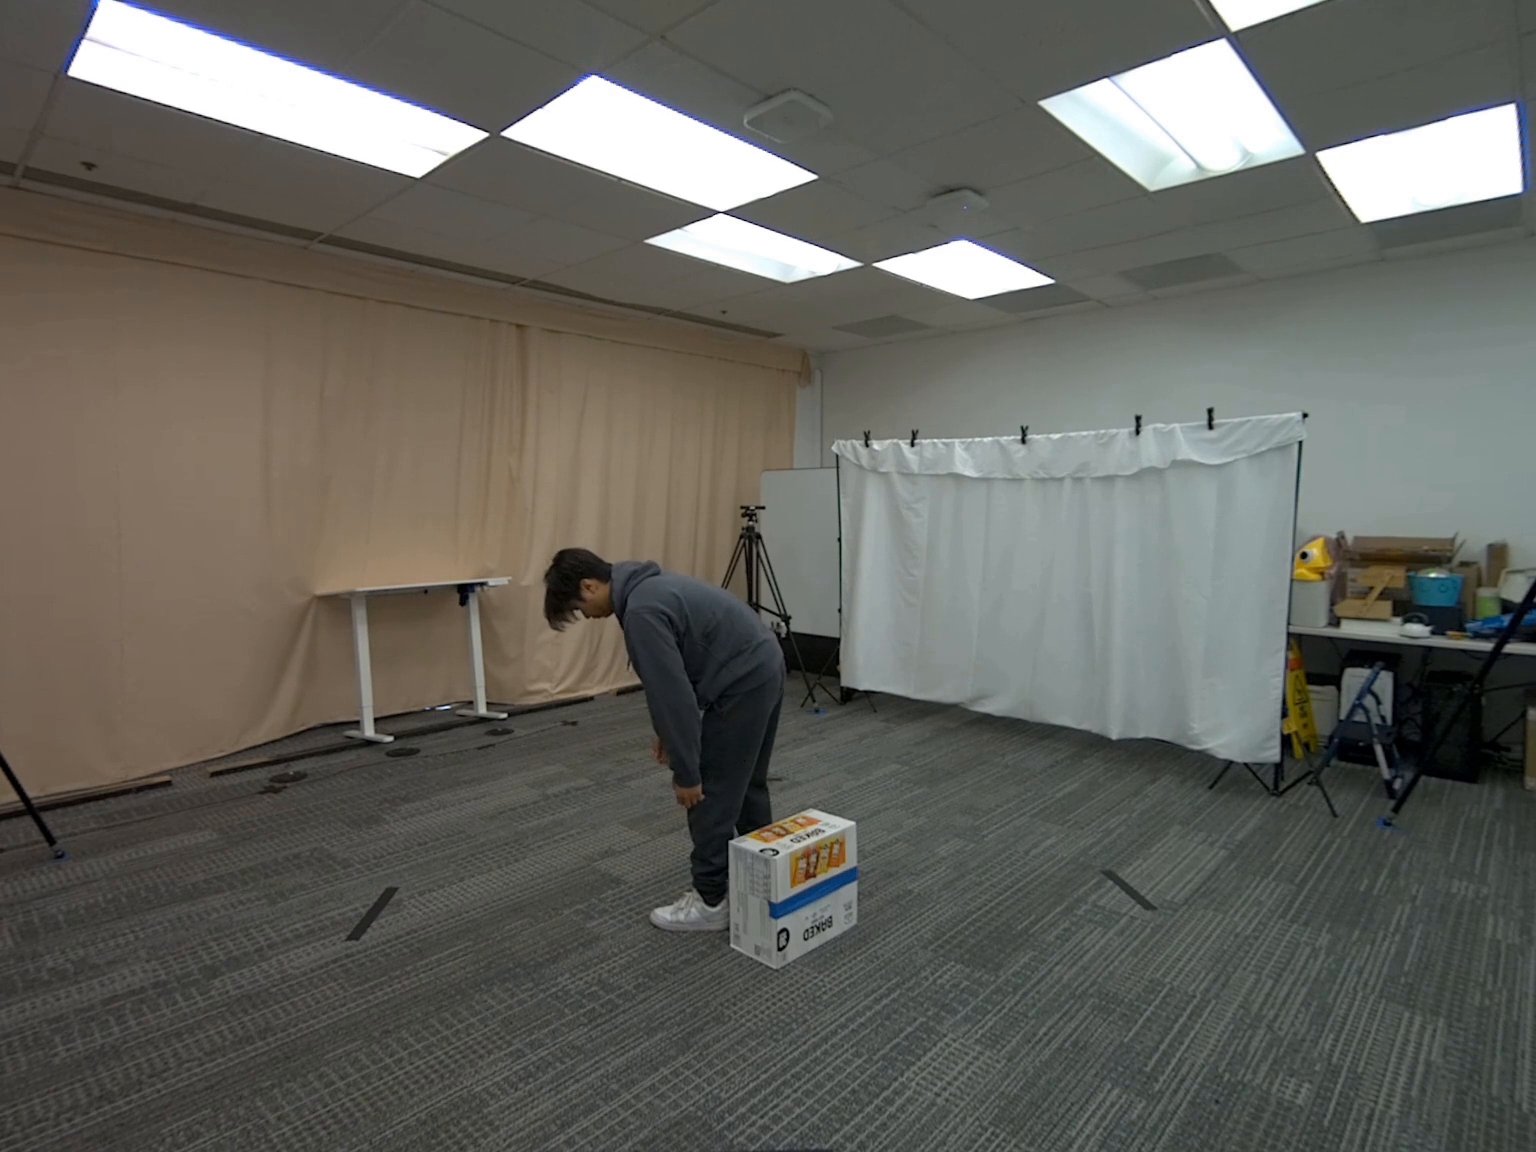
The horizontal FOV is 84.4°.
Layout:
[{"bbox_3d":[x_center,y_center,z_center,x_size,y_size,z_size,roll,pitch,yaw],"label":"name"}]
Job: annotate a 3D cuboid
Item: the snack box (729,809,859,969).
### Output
[{"bbox_3d":[0.090,0.997,2.727,0.212,0.340,0.393,1,4,44],"label":"snack box"}]
